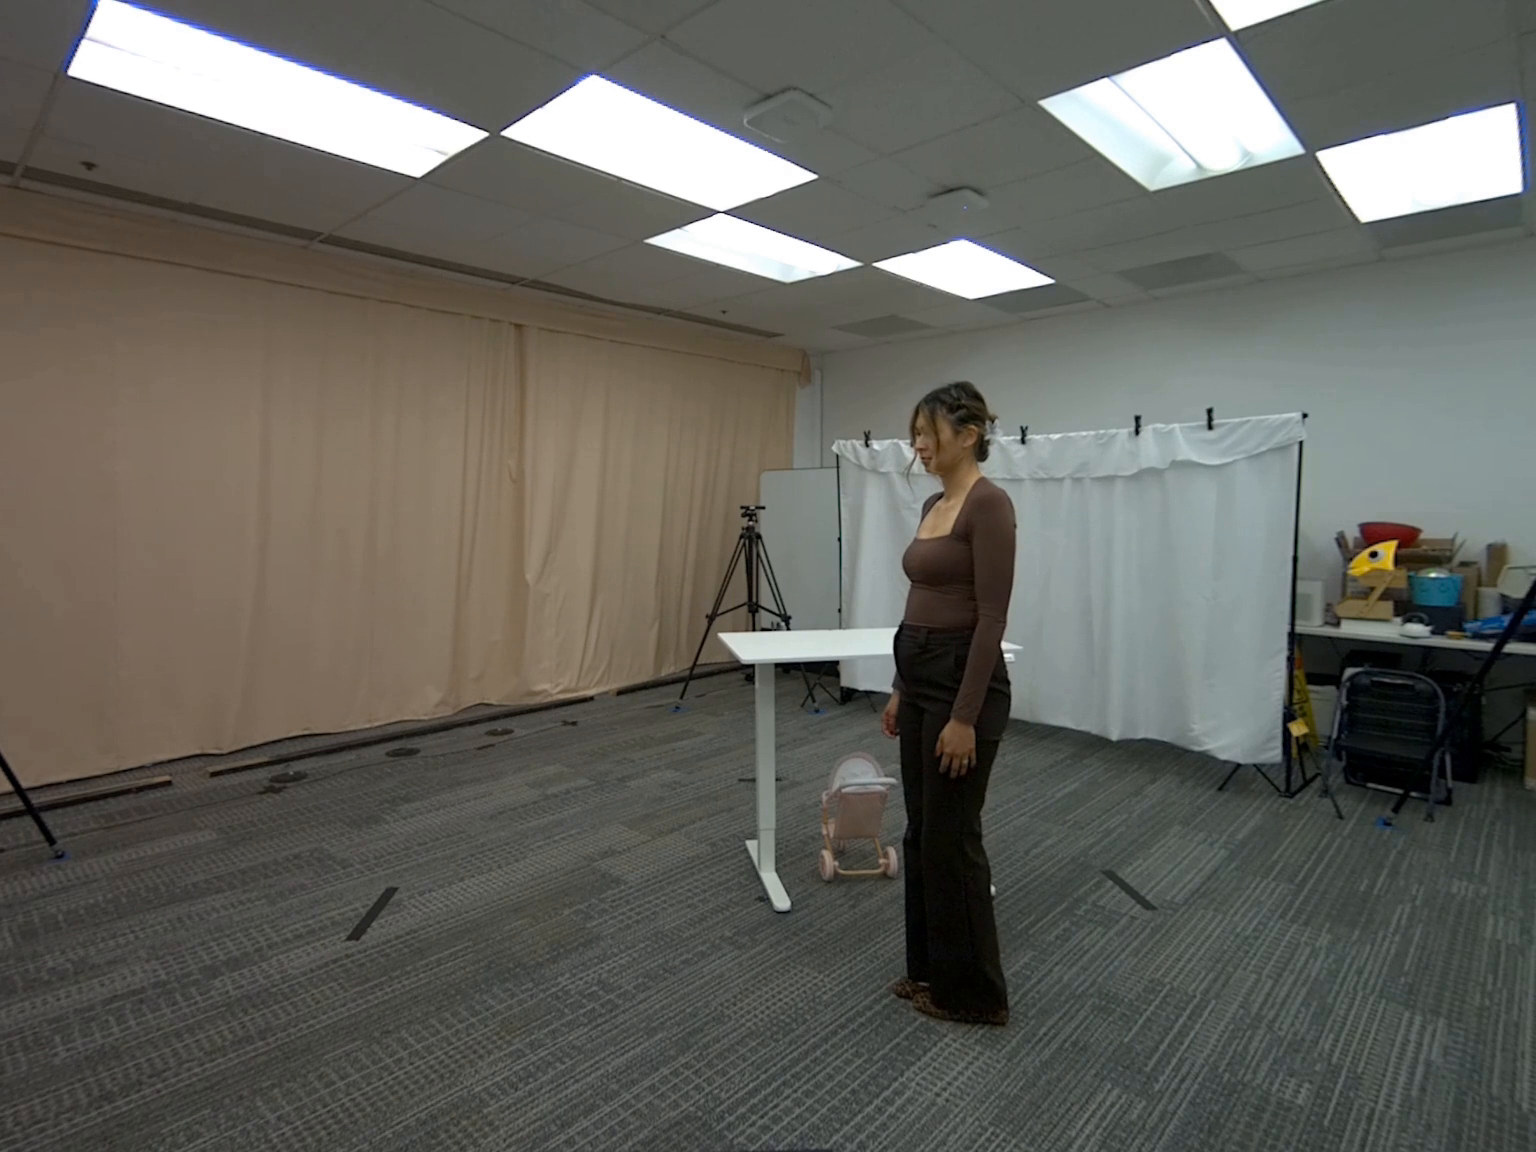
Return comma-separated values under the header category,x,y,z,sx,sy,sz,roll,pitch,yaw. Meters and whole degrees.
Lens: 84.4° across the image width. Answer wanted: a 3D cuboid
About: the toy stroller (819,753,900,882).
category,x,y,z,sx,sy,sz,roll,pitch,yaw
toy stroller,0.337,0.900,3.200,0.280,0.529,0.347,0,19,-5
